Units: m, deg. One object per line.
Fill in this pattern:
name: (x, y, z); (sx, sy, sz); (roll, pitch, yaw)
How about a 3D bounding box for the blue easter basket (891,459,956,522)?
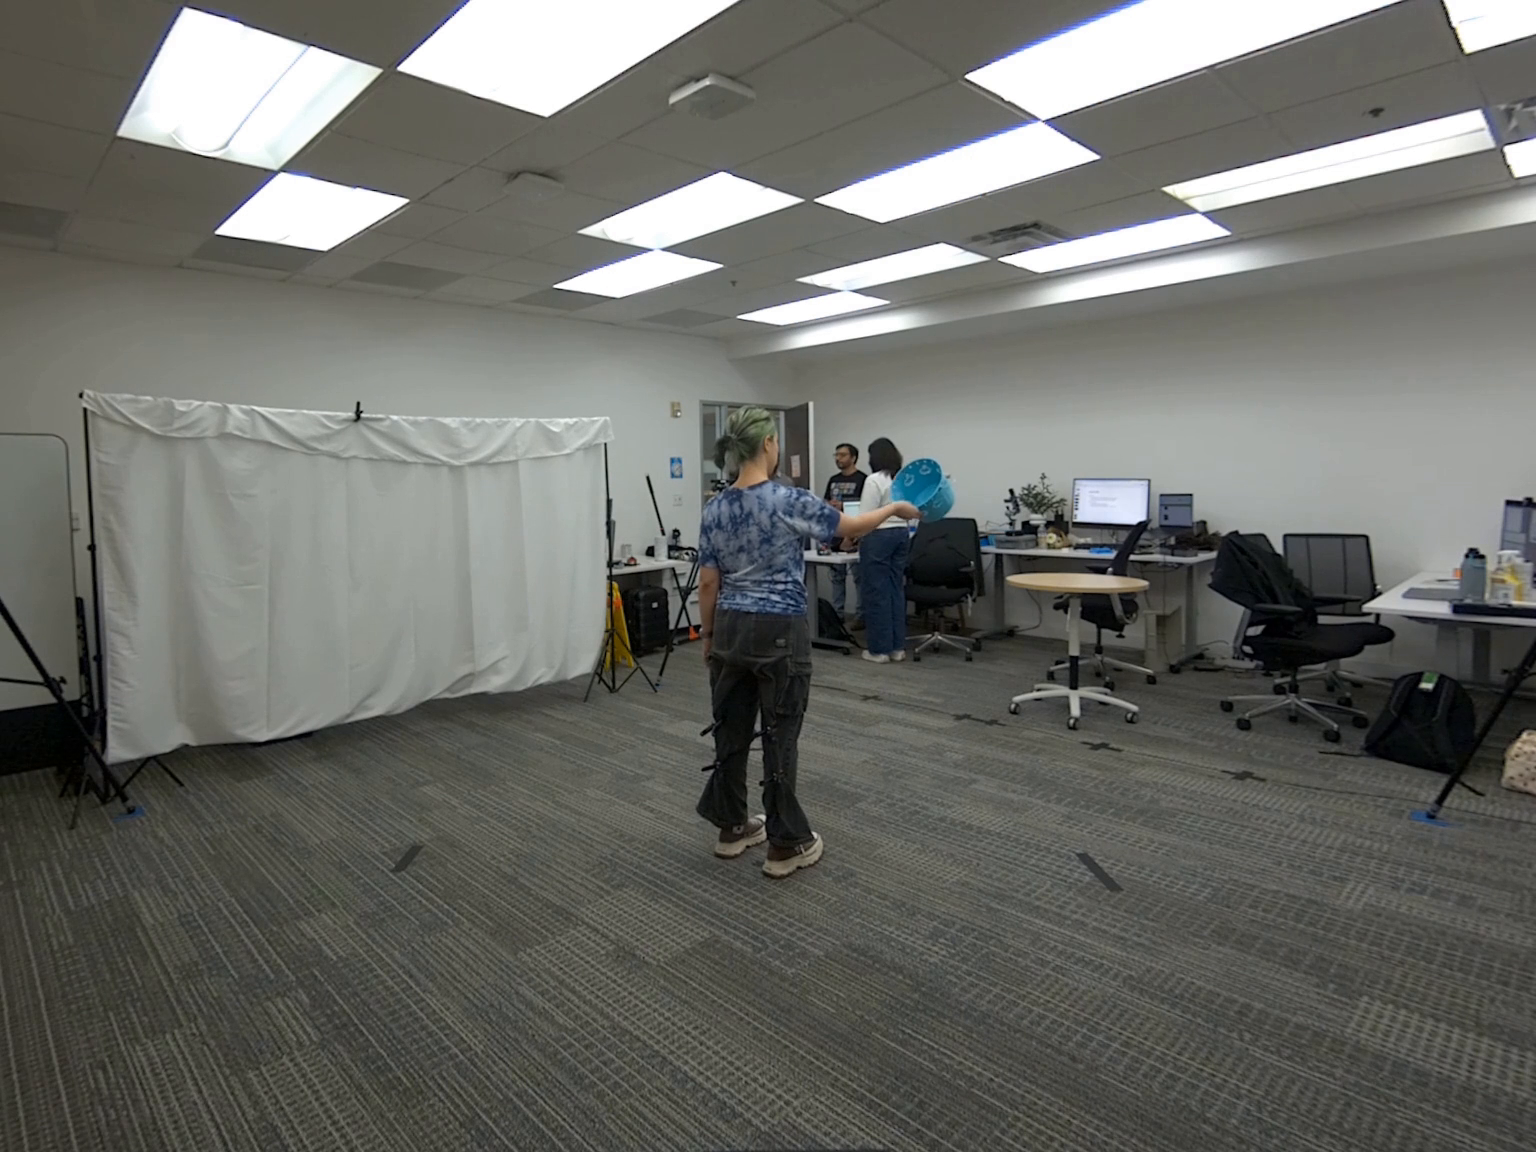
blue easter basket: (0.628, -0.326, 3.387); (0.251, 0.245, 0.150); (4, -26, 45)
